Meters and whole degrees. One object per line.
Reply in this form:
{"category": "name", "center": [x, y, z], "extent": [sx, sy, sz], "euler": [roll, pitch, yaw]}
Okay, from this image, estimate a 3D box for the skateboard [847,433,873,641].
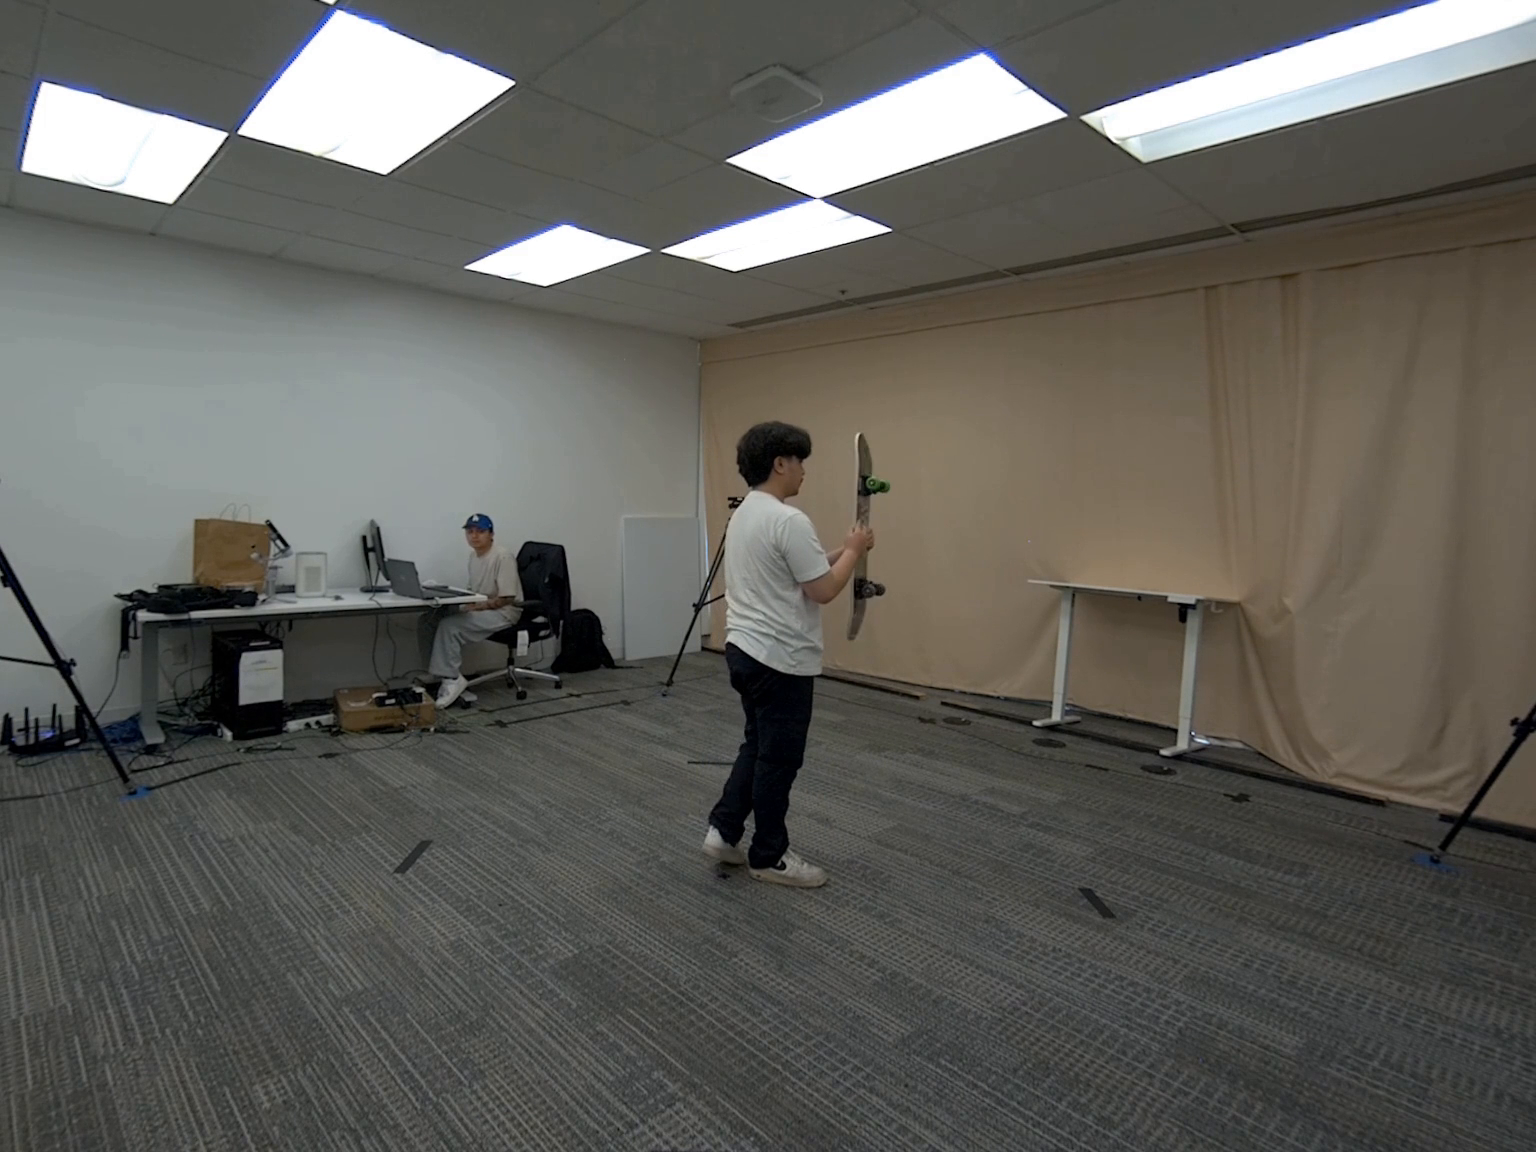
{"category": "skateboard", "center": [0.374, -0.144, 3.189], "extent": [0.112, 0.785, 0.190], "euler": [2, 0, 22]}
